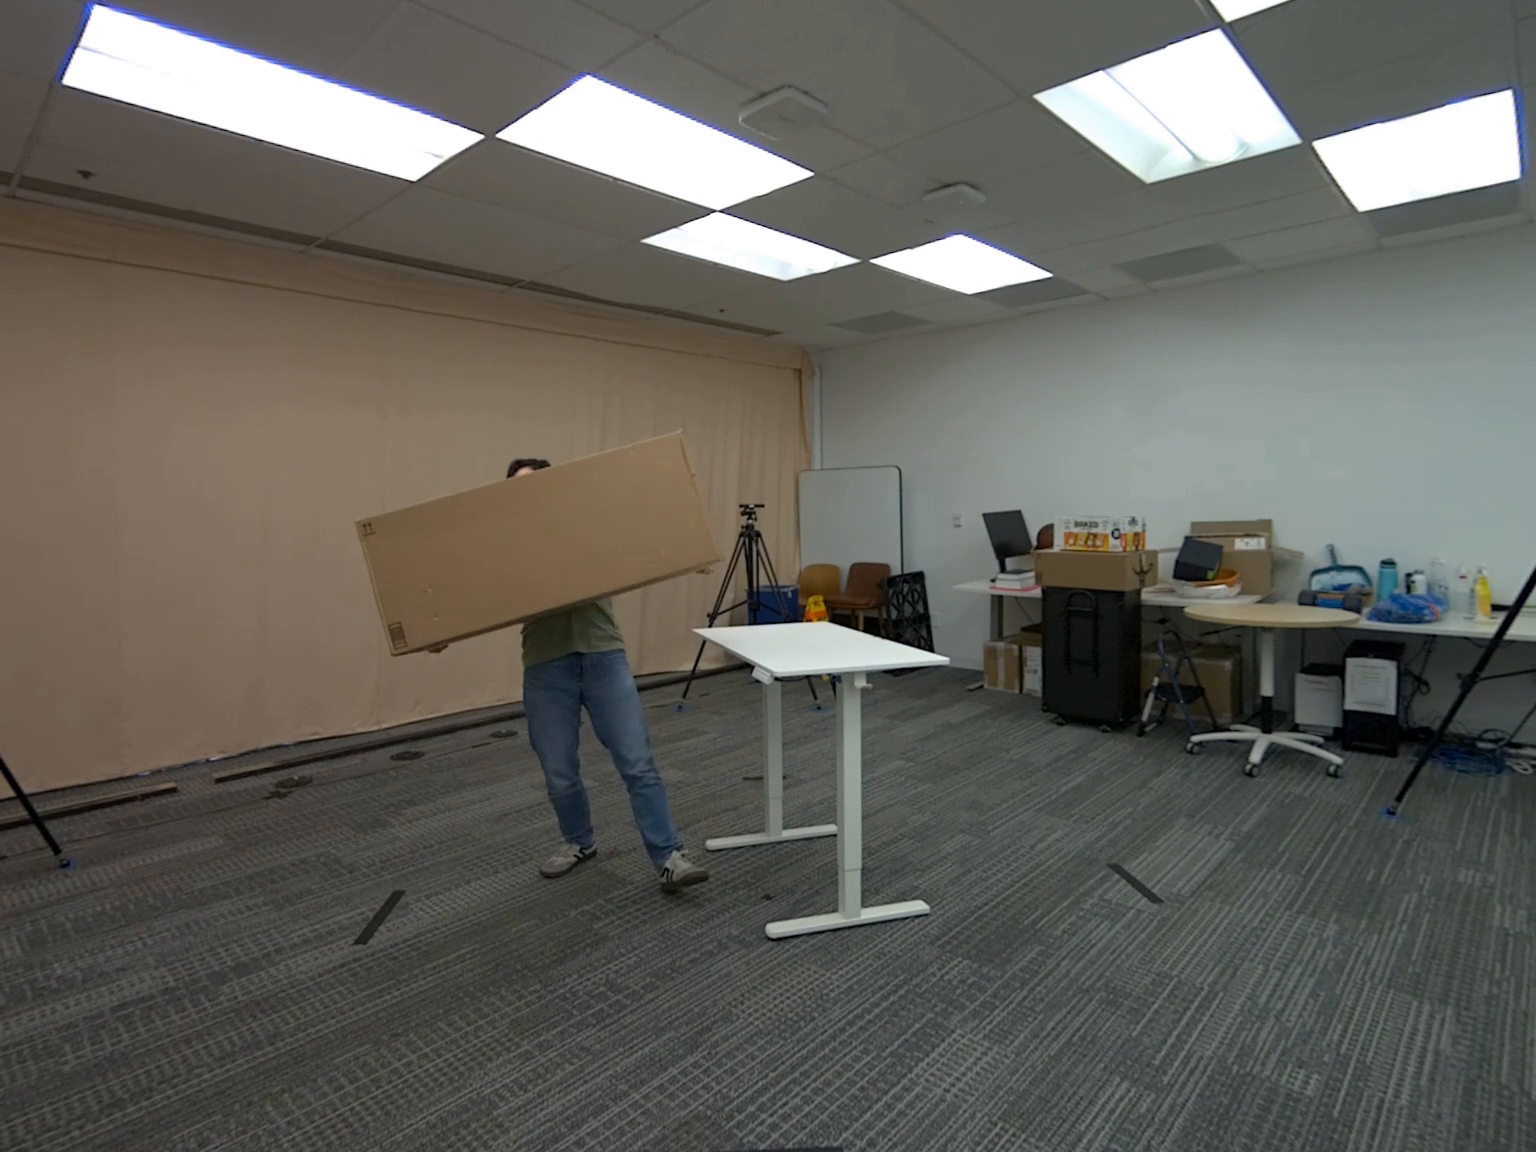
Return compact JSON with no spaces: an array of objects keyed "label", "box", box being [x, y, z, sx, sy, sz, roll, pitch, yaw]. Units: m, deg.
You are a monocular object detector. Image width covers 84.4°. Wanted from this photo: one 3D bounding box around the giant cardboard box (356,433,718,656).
[{"label":"giant cardboard box","box":[-0.720,-0.115,2.820,1.020,0.427,0.580,-15,-1,-6]}]
